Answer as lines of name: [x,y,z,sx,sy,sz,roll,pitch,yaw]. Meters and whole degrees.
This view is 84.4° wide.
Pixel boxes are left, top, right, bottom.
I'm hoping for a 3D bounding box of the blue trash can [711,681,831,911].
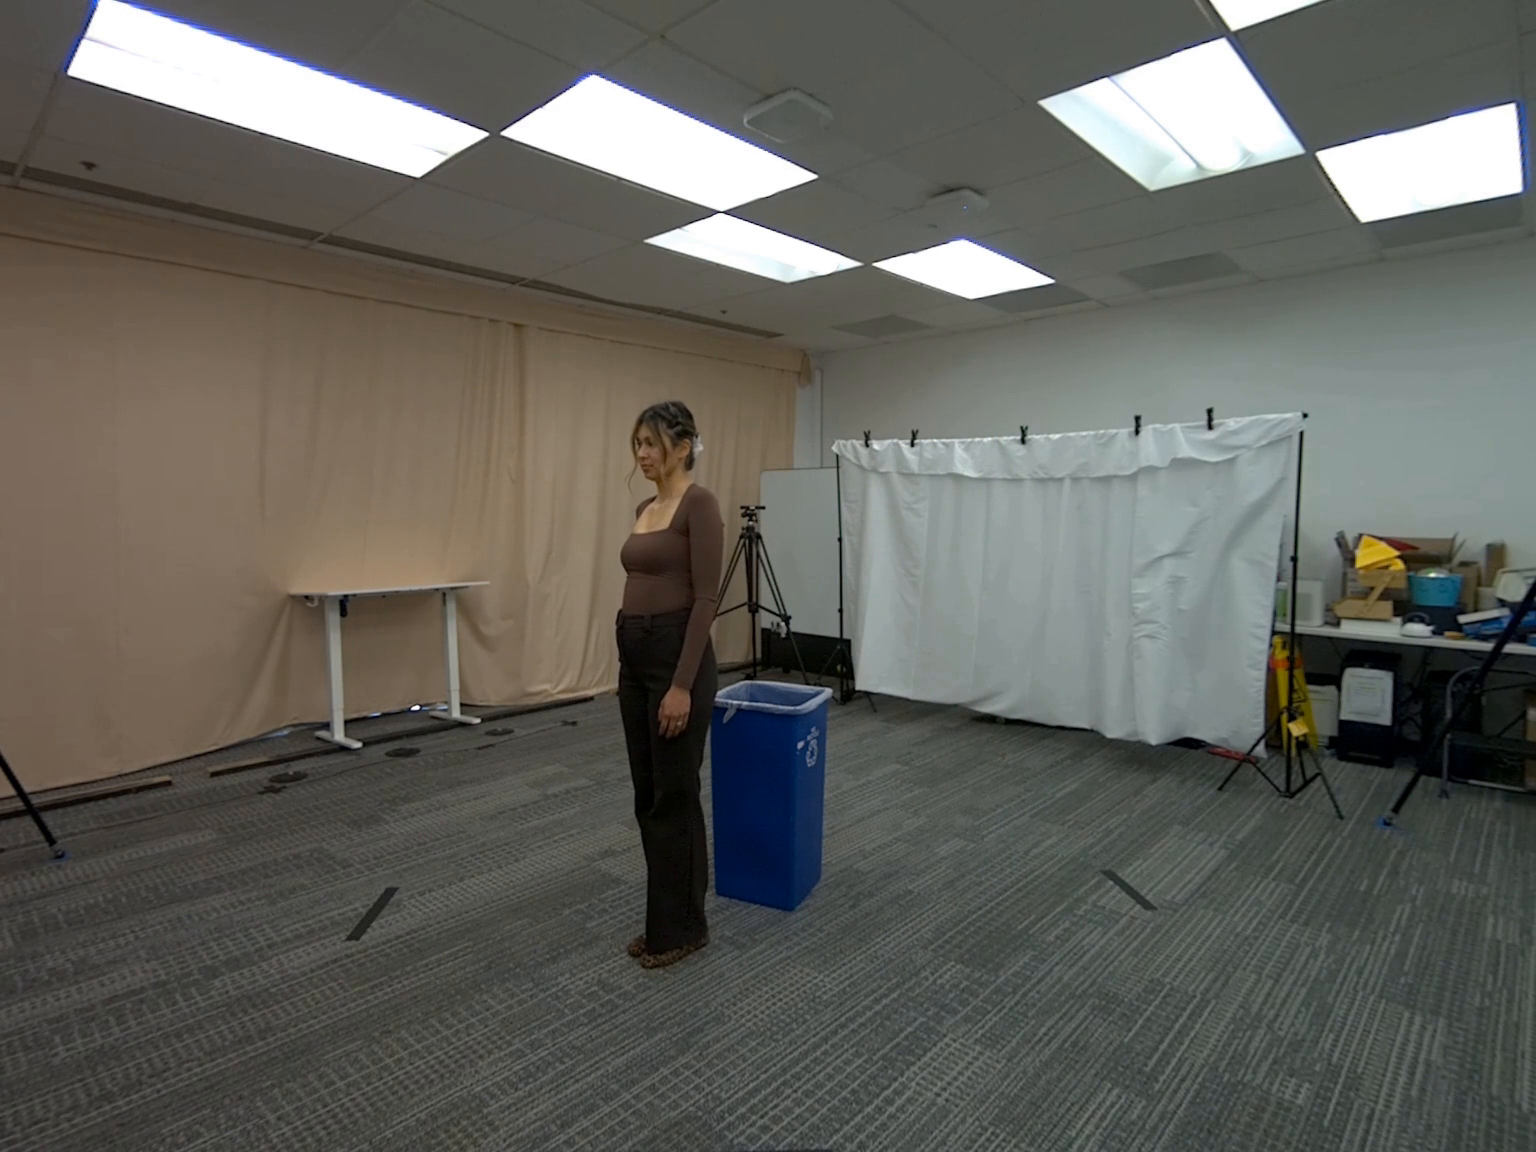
blue trash can: [0.005,0.777,3.062,0.384,0.712,0.369,3,4,24]
